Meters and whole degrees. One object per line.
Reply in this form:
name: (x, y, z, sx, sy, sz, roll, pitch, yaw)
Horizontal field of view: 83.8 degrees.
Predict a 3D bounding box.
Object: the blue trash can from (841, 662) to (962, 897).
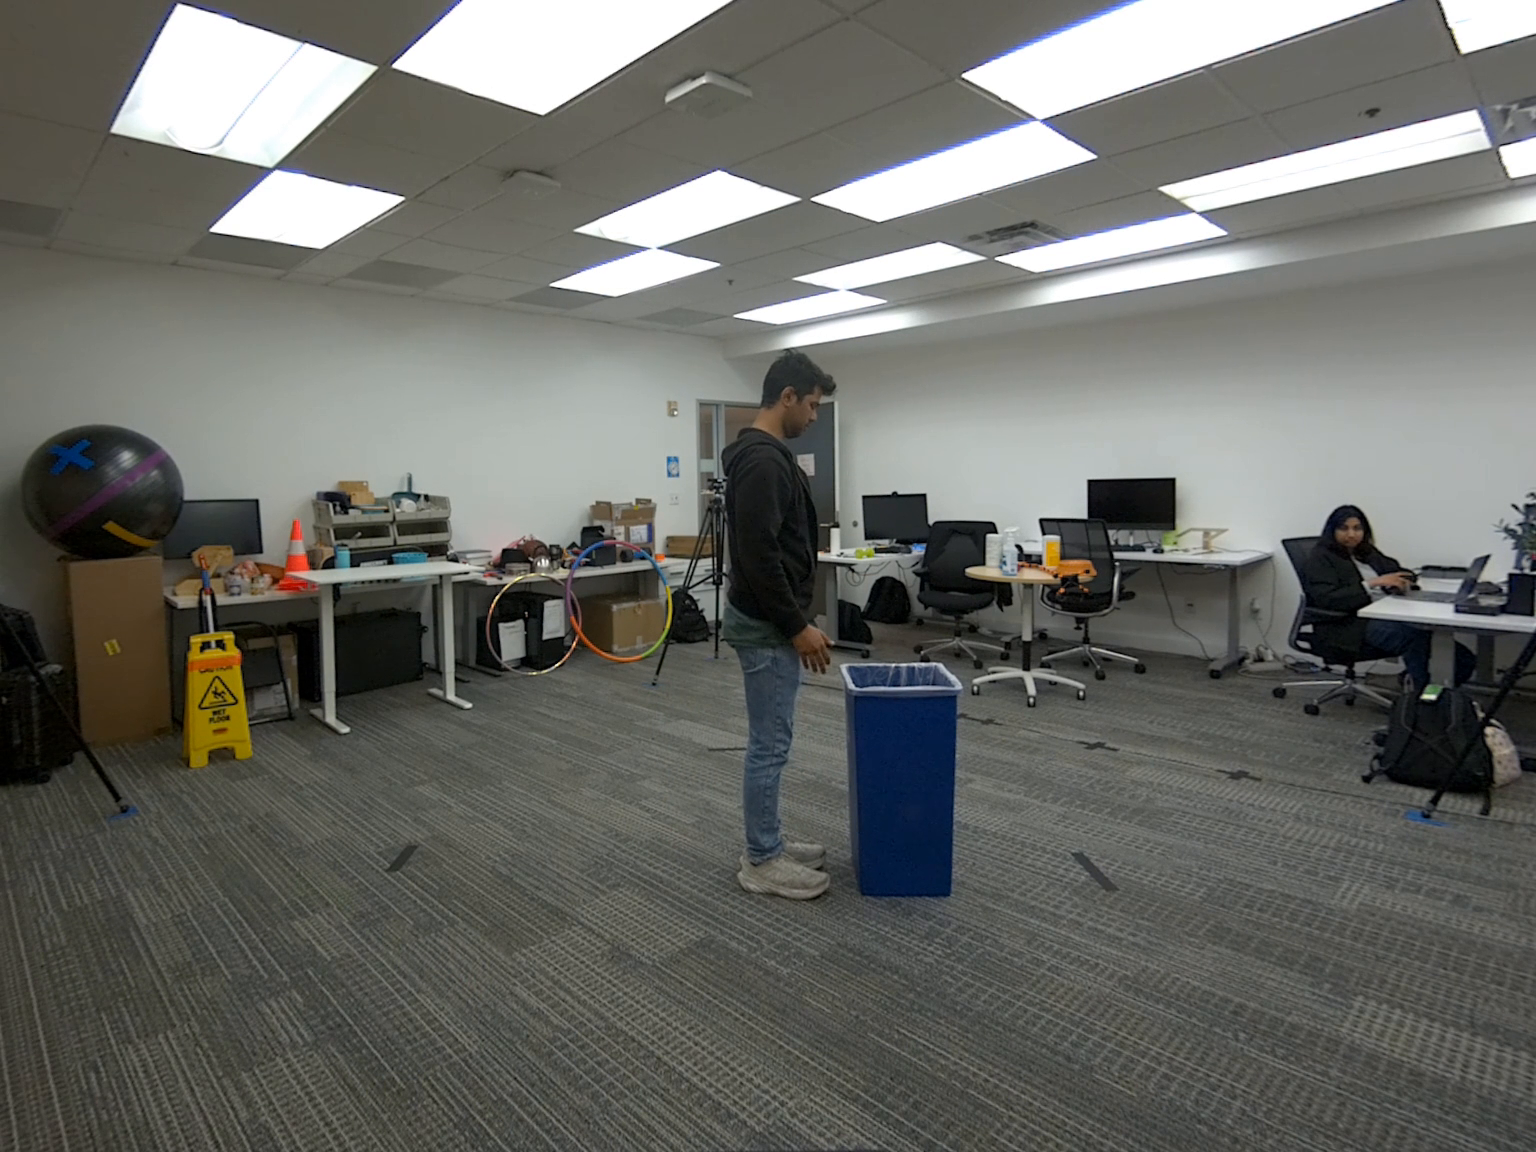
blue trash can: (0.454, 0.696, 2.960, 0.379, 0.711, 0.375, -1, 4, 1)
